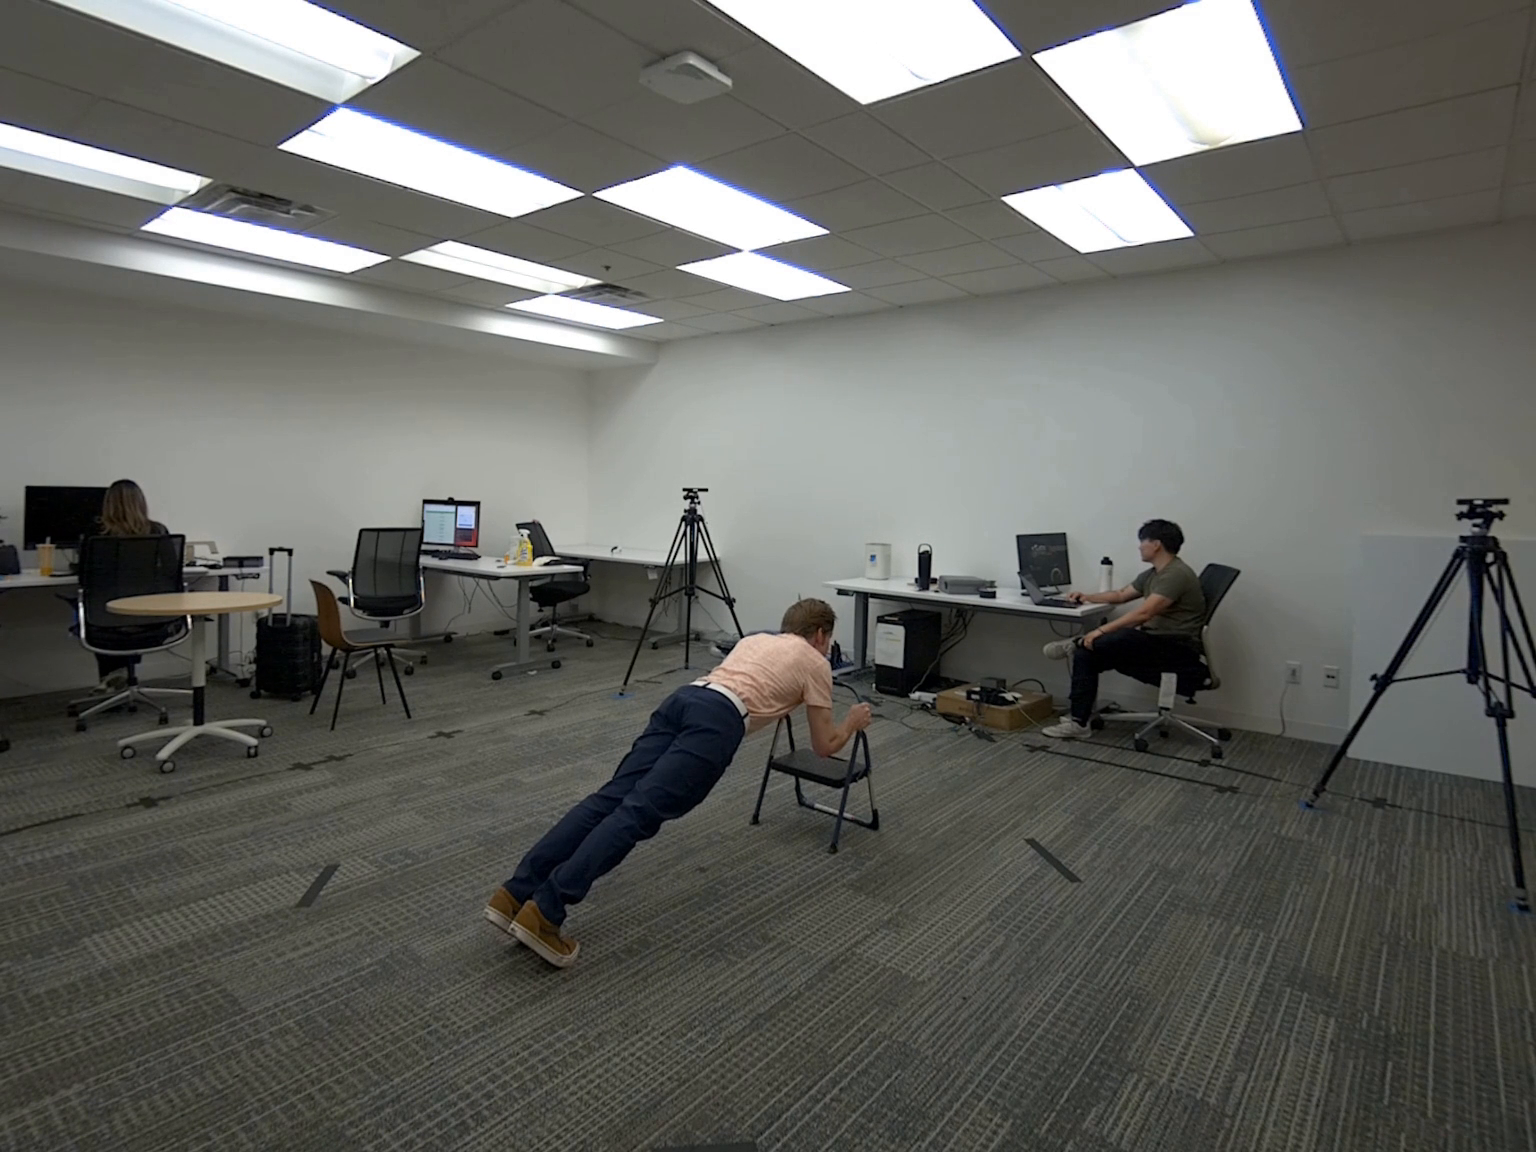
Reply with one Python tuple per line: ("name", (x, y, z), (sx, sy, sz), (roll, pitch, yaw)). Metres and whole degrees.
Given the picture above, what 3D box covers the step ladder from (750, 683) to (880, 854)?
("step ladder", (0.196, 0.738, 3.524), (0.445, 0.604, 0.338), (4, 4, 40))
